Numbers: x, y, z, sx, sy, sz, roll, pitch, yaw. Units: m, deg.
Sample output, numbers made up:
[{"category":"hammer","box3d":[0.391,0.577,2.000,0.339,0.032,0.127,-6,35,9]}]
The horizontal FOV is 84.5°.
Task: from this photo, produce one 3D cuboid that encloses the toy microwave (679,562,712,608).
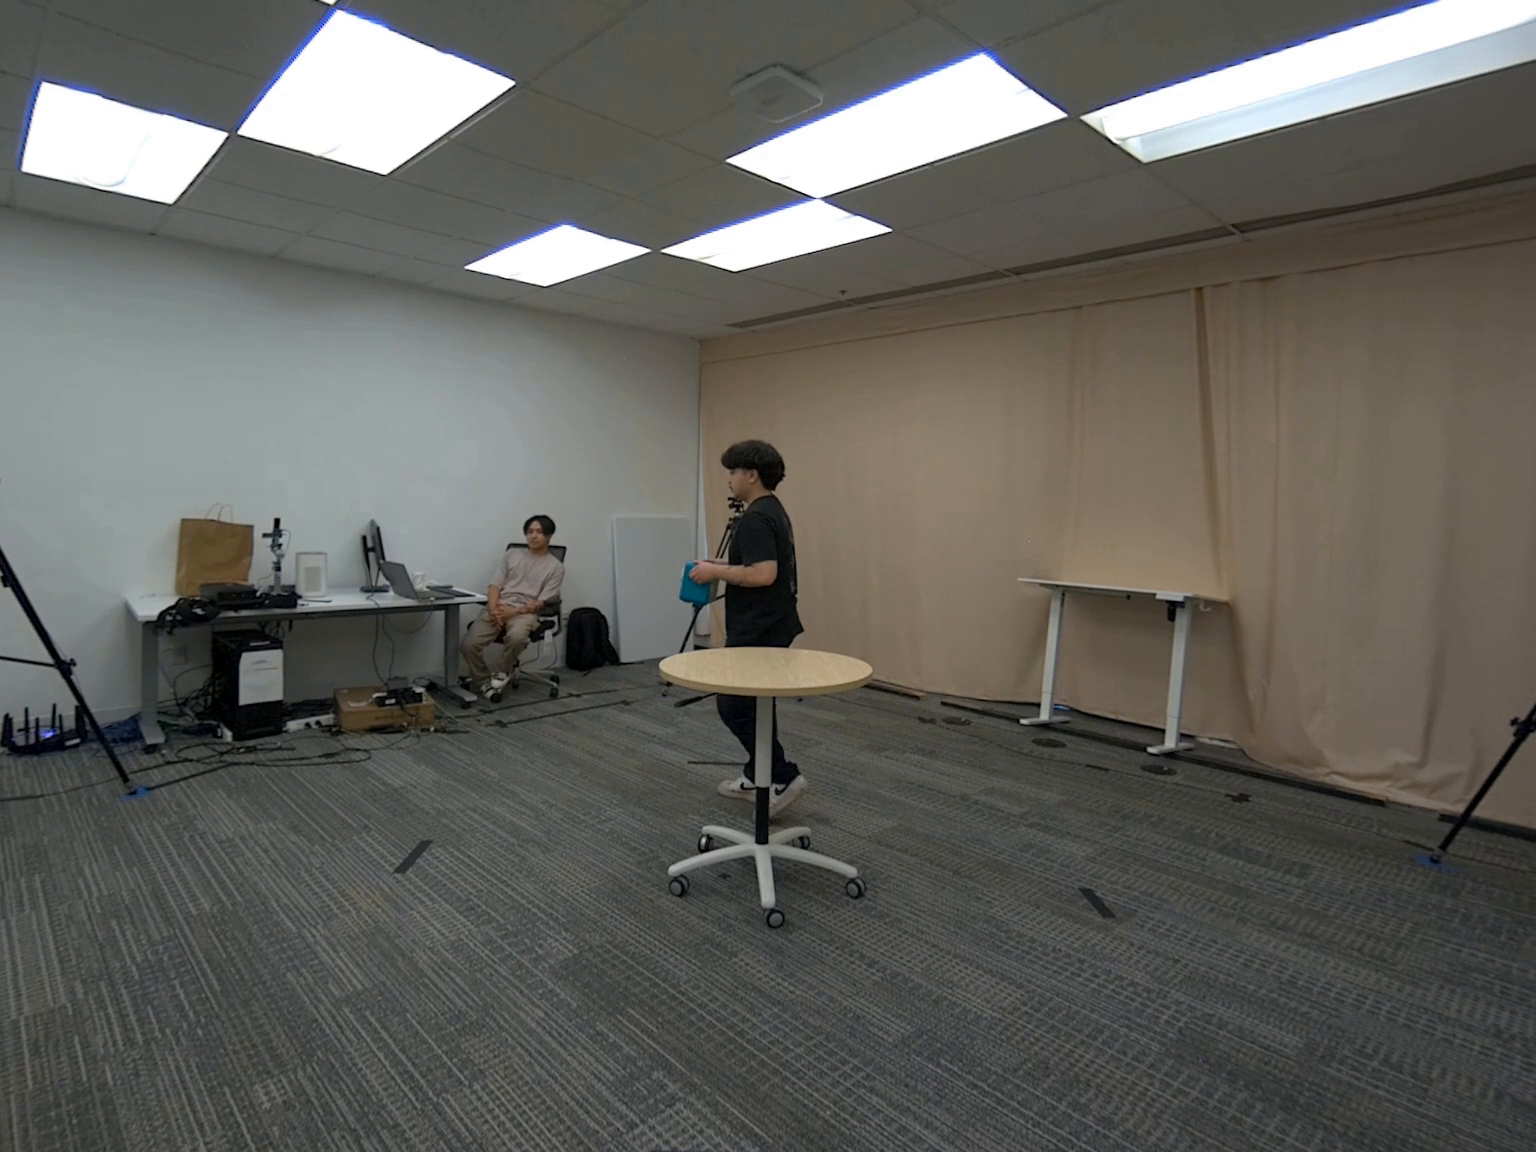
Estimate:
[{"category":"toy microwave","box3d":[-0.325,0.025,3.857,0.153,0.184,0.285,10,4,3]}]
